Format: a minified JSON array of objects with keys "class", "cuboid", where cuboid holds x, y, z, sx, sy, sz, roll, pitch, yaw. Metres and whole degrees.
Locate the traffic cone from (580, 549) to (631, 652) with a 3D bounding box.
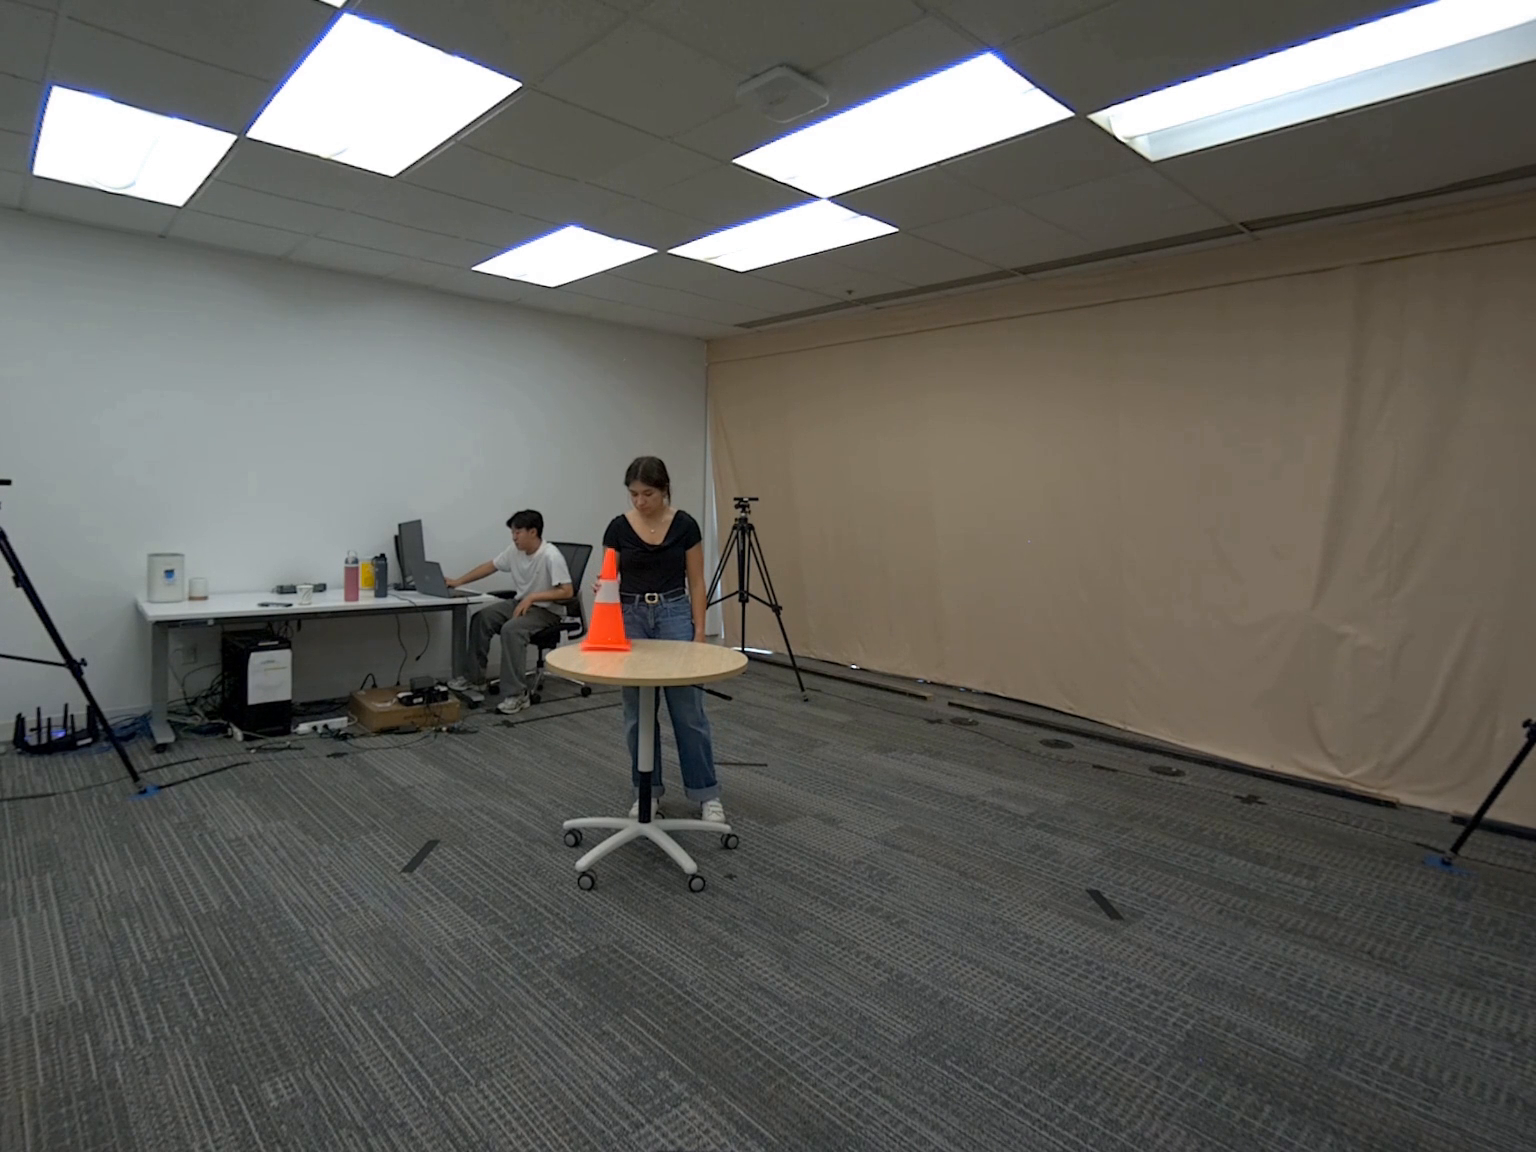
[{"class":"traffic cone","cuboid":[-0.663,0.086,3.379,0.202,0.384,0.206,5,0,-6]}]
